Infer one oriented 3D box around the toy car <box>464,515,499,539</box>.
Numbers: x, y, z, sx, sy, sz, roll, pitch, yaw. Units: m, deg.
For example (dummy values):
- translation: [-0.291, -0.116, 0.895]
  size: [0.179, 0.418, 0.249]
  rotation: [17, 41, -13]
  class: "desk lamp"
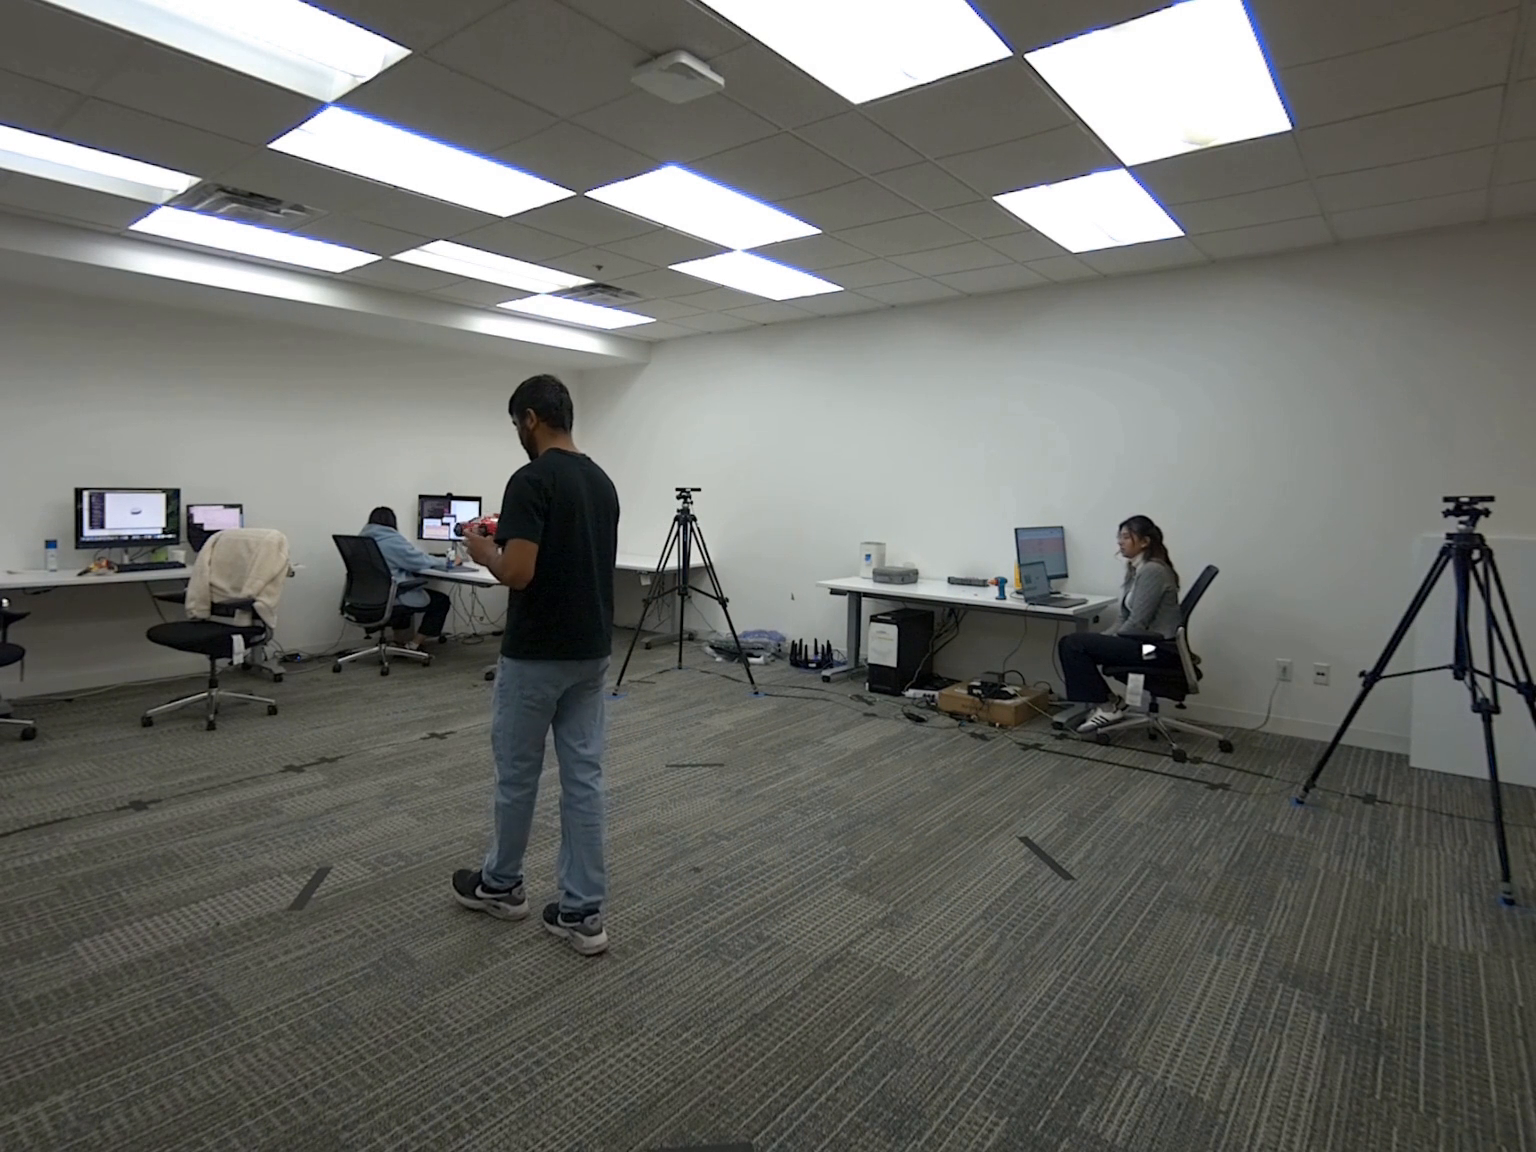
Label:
- translation: [-0.923, -0.153, 2.765]
  size: [0.261, 0.084, 0.126]
  rotation: [-8, -5, 35]
  class: "toy car"
